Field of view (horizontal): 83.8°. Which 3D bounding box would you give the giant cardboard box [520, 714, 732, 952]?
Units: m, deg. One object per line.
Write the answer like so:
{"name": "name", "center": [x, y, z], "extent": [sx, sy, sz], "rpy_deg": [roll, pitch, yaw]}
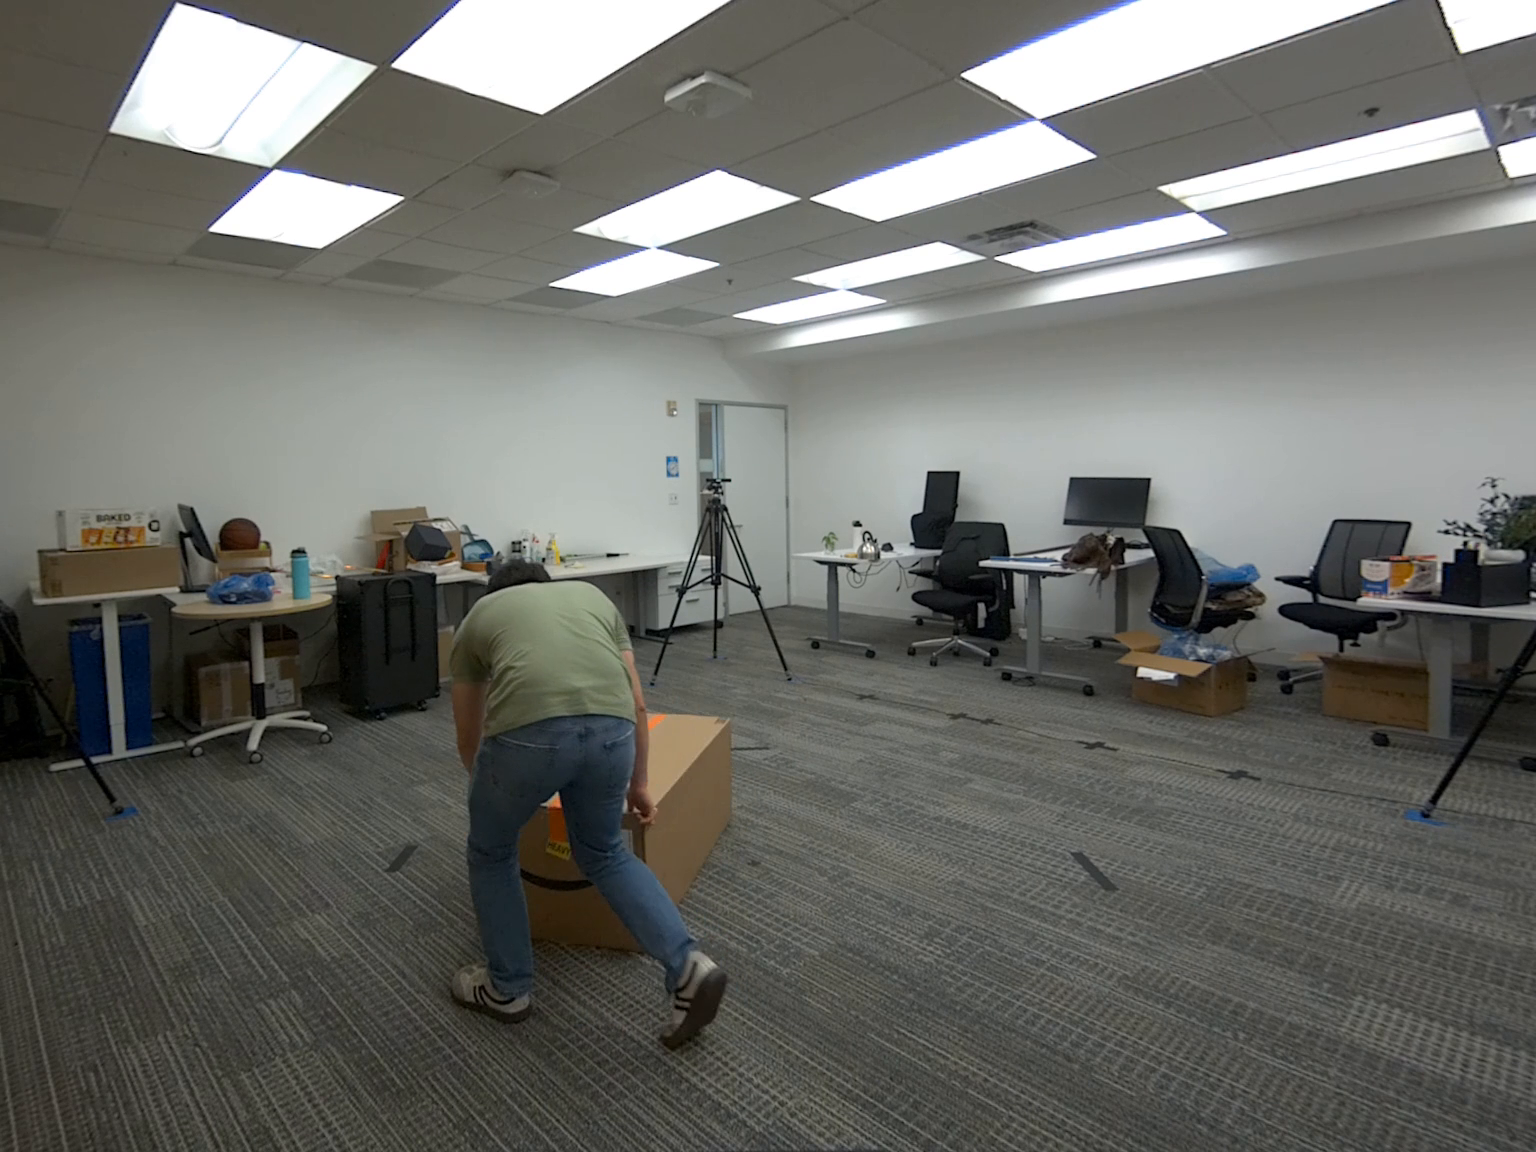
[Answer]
{"name": "giant cardboard box", "center": [-0.527, 0.844, 3.079], "extent": [0.585, 0.424, 1.018], "rpy_deg": [-1, 6, 12]}
